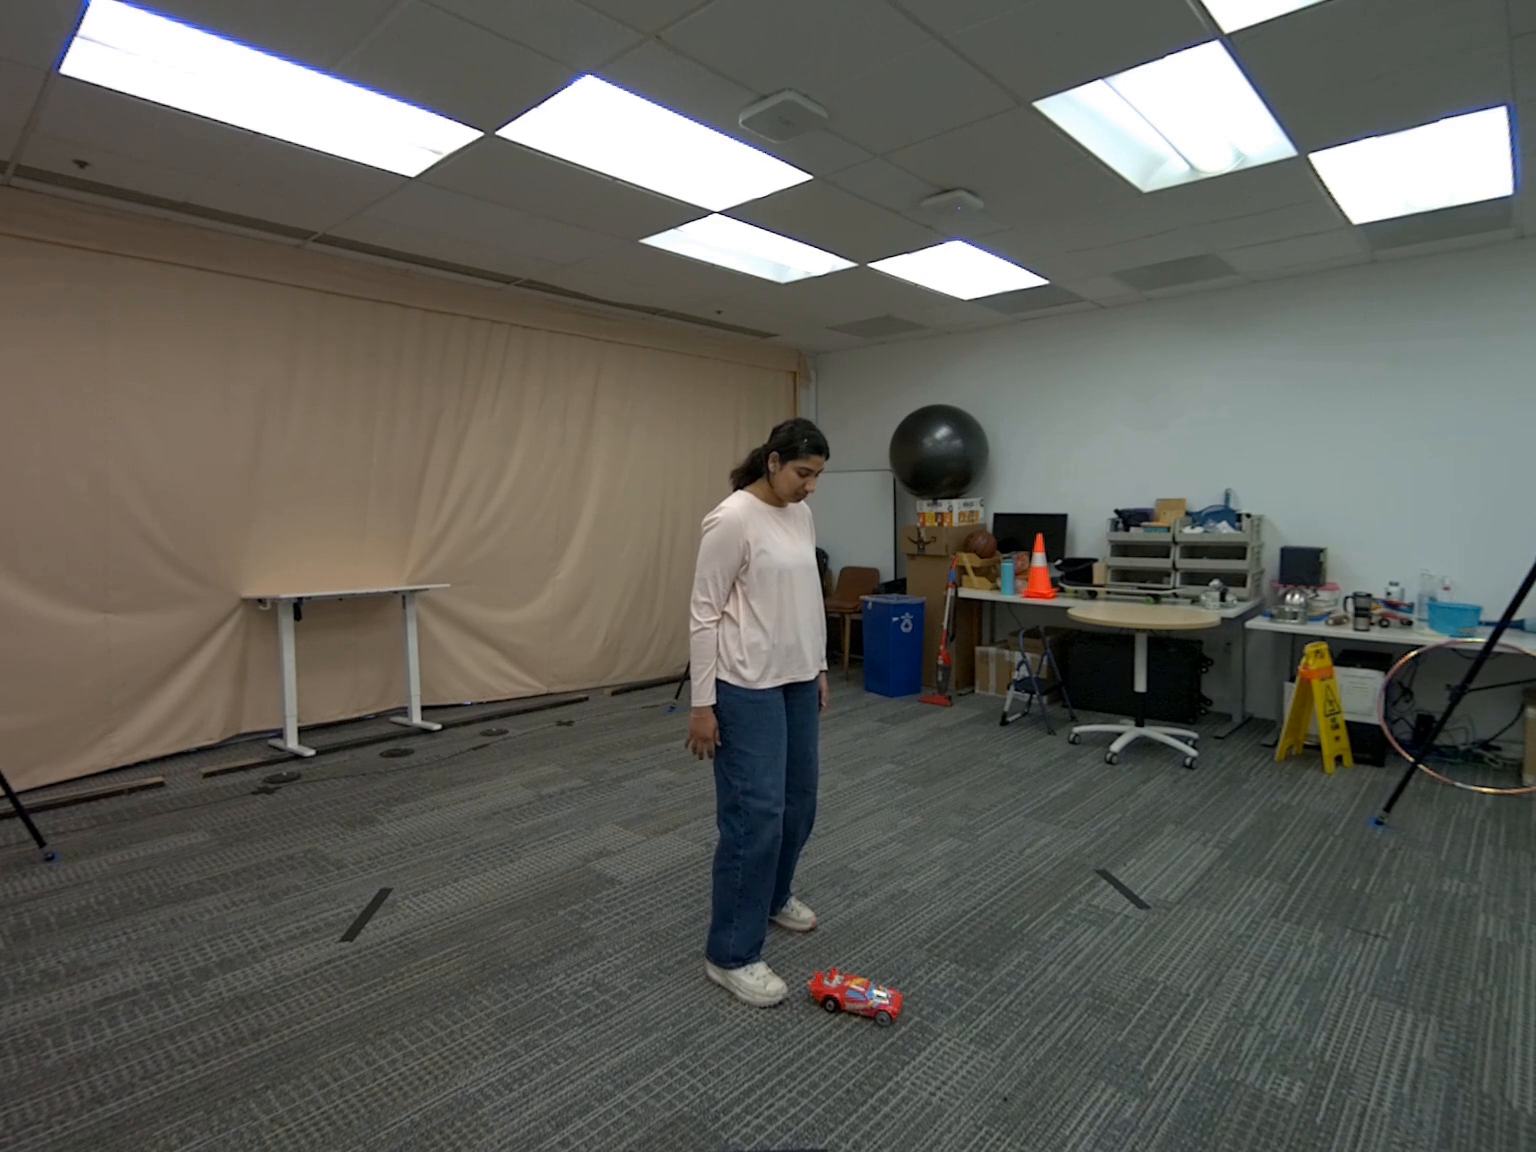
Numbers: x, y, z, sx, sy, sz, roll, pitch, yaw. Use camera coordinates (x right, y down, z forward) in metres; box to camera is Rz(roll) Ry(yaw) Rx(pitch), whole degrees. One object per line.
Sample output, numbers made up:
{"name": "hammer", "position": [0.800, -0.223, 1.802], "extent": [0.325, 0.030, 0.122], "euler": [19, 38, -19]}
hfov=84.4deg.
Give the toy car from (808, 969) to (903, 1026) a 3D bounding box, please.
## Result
{"name": "toy car", "position": [0.252, 1.175, 2.324], "extent": [0.261, 0.083, 0.127], "euler": [13, 9, 22]}
